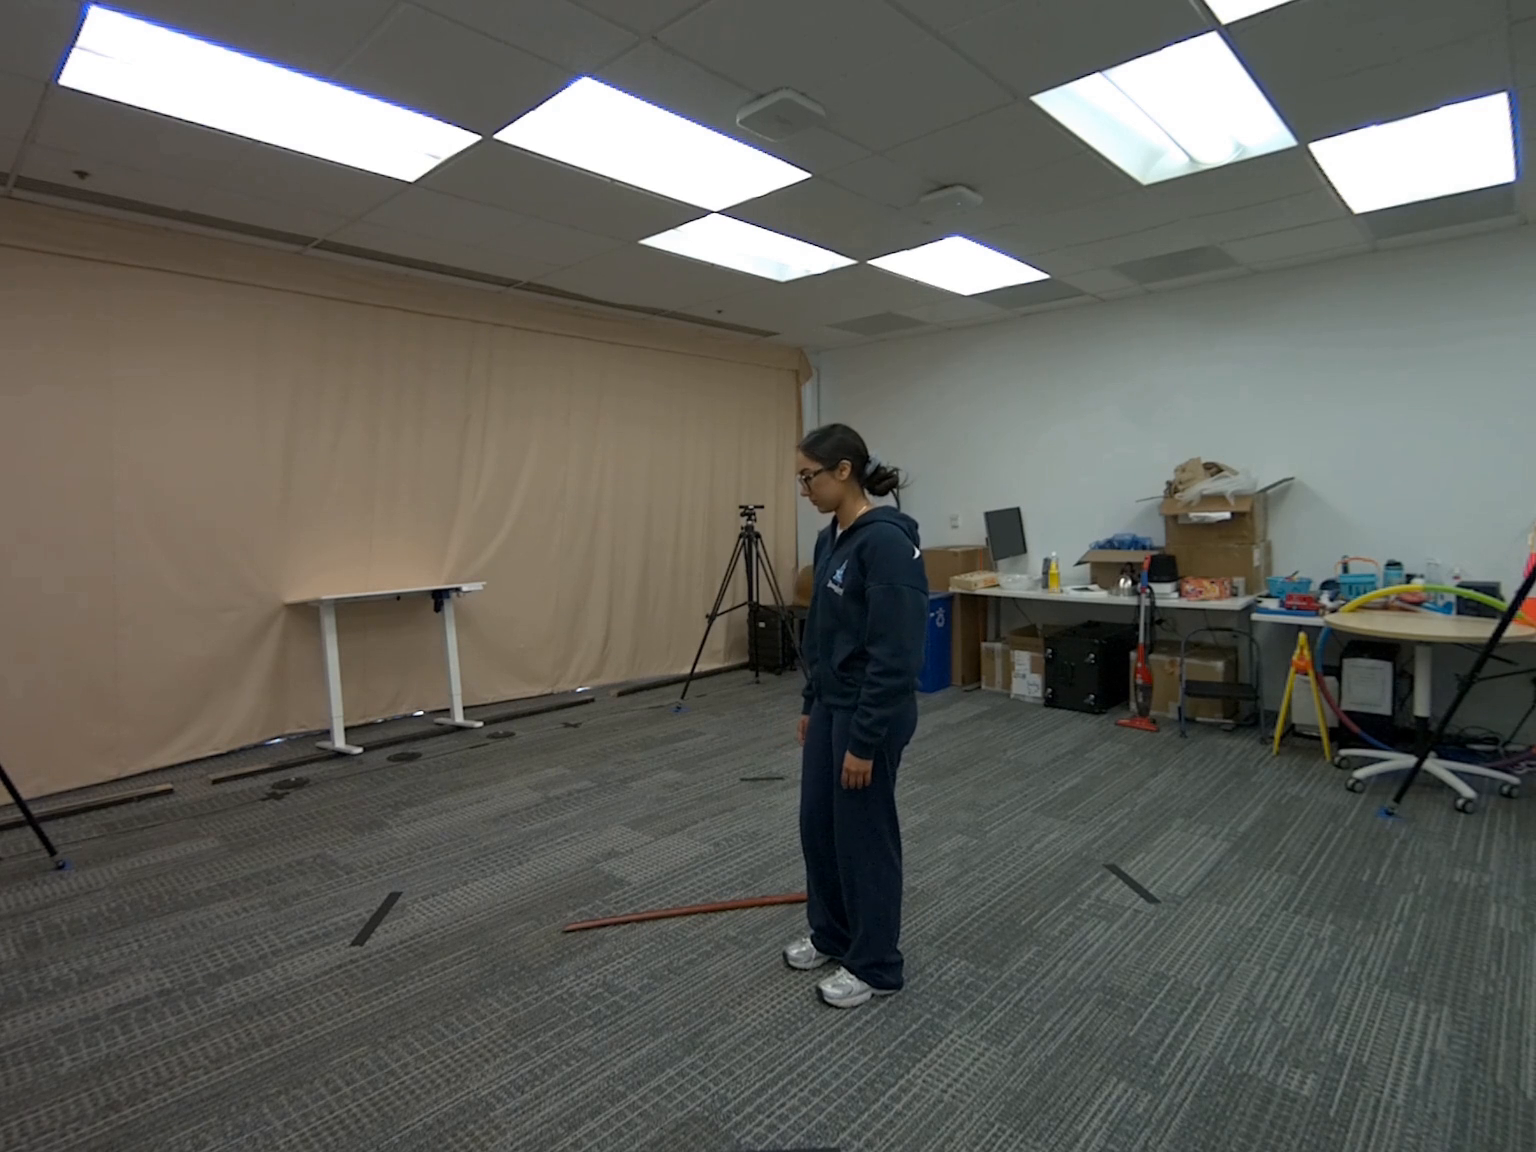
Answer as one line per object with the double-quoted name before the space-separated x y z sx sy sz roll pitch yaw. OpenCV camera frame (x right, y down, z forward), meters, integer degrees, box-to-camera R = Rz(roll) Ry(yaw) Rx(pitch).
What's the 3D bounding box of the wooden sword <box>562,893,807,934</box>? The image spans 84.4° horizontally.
"wooden sword" -0.184 1.134 2.893 1.013 0.024 0.052 -2 20 -11
